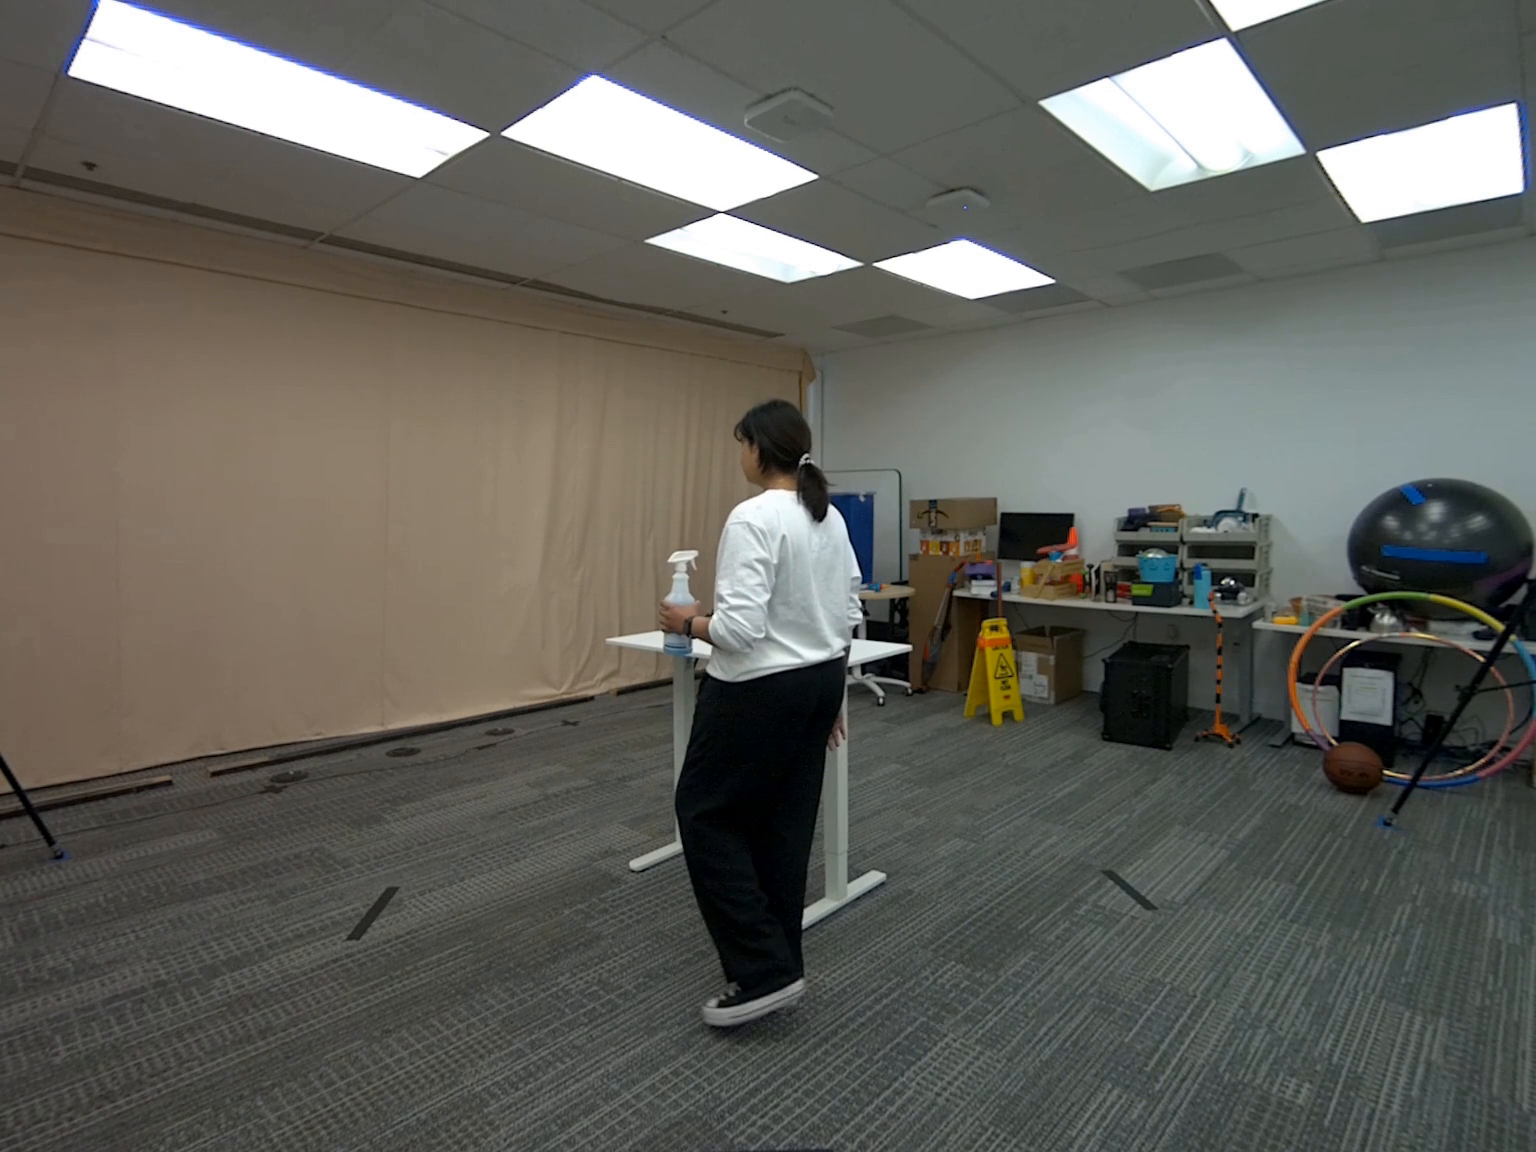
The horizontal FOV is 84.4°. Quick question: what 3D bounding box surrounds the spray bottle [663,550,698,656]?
[{"bbox_3d":[-0.244,0.079,2.426,0.090,0.296,0.087,4,8,-2],"label":"spray bottle"}]
